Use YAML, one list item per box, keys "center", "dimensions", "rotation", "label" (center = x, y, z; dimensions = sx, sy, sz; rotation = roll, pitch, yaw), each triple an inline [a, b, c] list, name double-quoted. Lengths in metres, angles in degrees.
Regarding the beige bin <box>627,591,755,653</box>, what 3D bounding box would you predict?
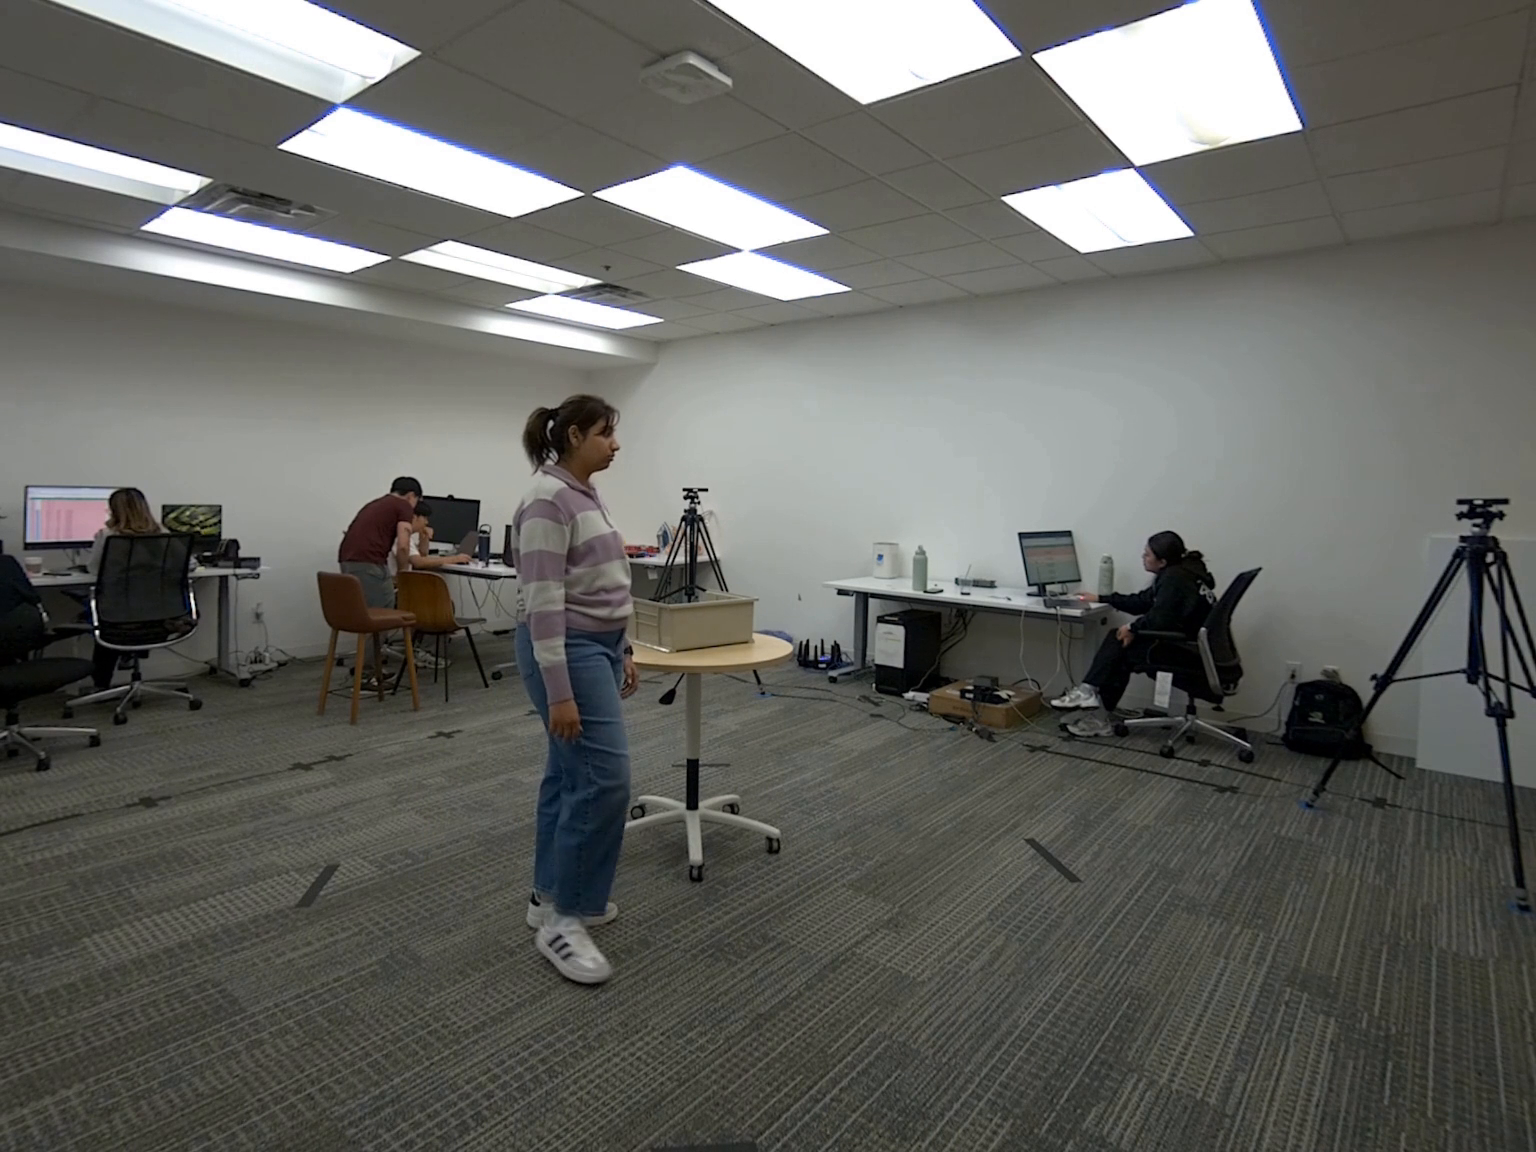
- center: [-0.329, 0.171, 3.388]
  dimensions: [0.410, 0.188, 0.390]
  rotation: [-3, 7, -37]
  label: "beige bin"
